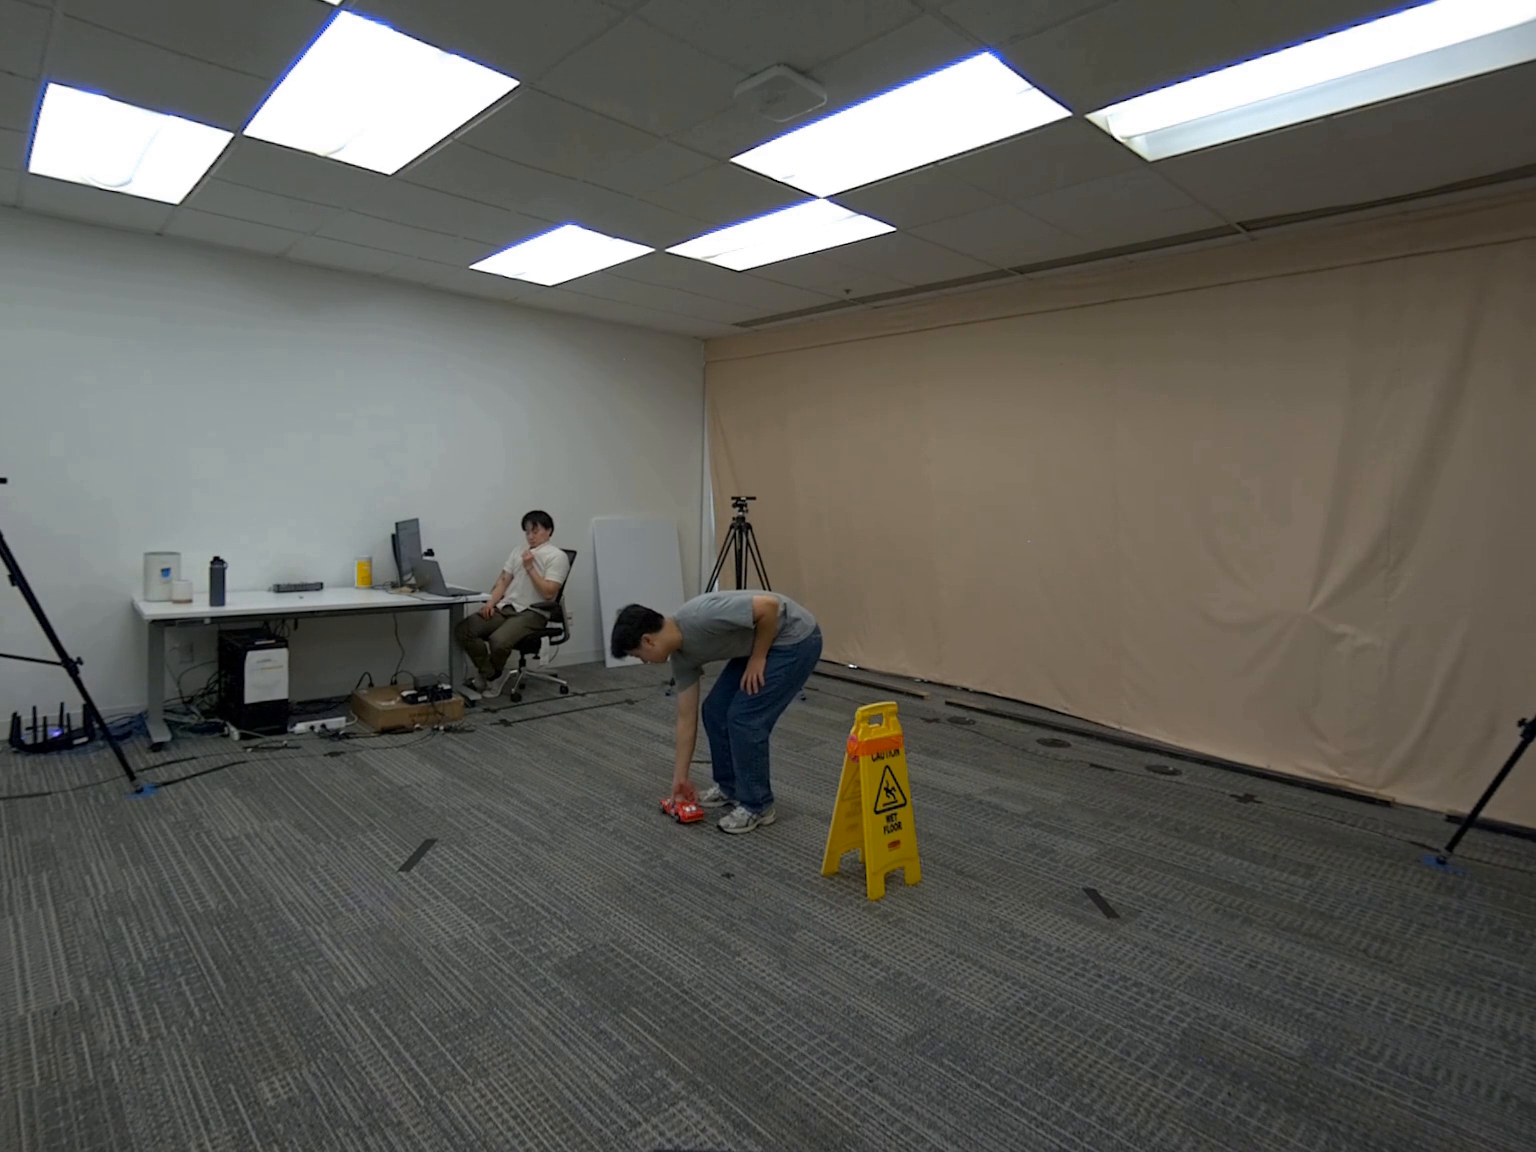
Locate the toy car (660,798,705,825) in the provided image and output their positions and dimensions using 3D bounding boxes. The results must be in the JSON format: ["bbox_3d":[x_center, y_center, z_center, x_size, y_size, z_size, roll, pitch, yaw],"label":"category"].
[{"bbox_3d":[-0.379,1.015,3.665,0.127,0.083,0.259,1,-6,-34],"label":"toy car"}]
